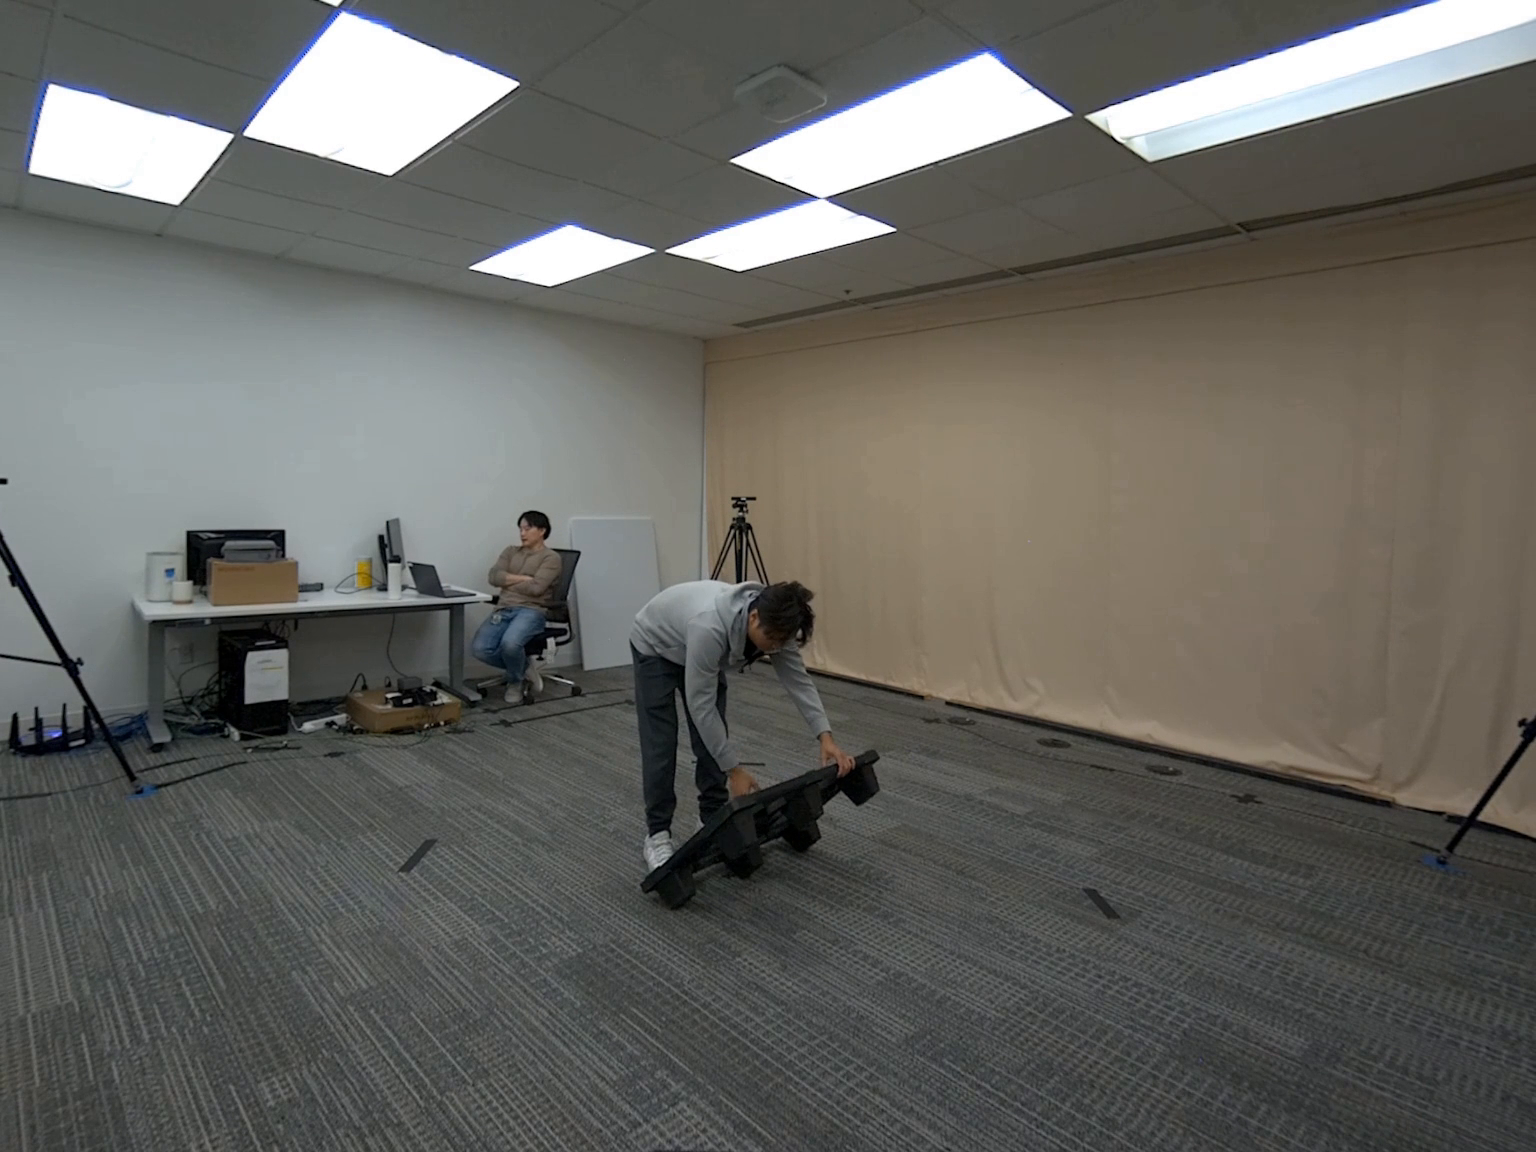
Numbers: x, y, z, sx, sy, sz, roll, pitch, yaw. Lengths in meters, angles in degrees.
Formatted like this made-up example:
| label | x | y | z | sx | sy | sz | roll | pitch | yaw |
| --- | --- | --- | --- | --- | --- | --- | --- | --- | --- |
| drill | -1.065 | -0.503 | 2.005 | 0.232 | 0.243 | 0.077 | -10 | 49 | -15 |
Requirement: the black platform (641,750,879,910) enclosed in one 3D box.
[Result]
| label | x | y | z | sx | sy | sz | roll | pitch | yaw |
| --- | --- | --- | --- | --- | --- | --- | --- | --- | --- |
| black platform | 0.005 | 0.909 | 2.991 | 0.787 | 0.147 | 0.603 | -4 | -38 | -47 |
